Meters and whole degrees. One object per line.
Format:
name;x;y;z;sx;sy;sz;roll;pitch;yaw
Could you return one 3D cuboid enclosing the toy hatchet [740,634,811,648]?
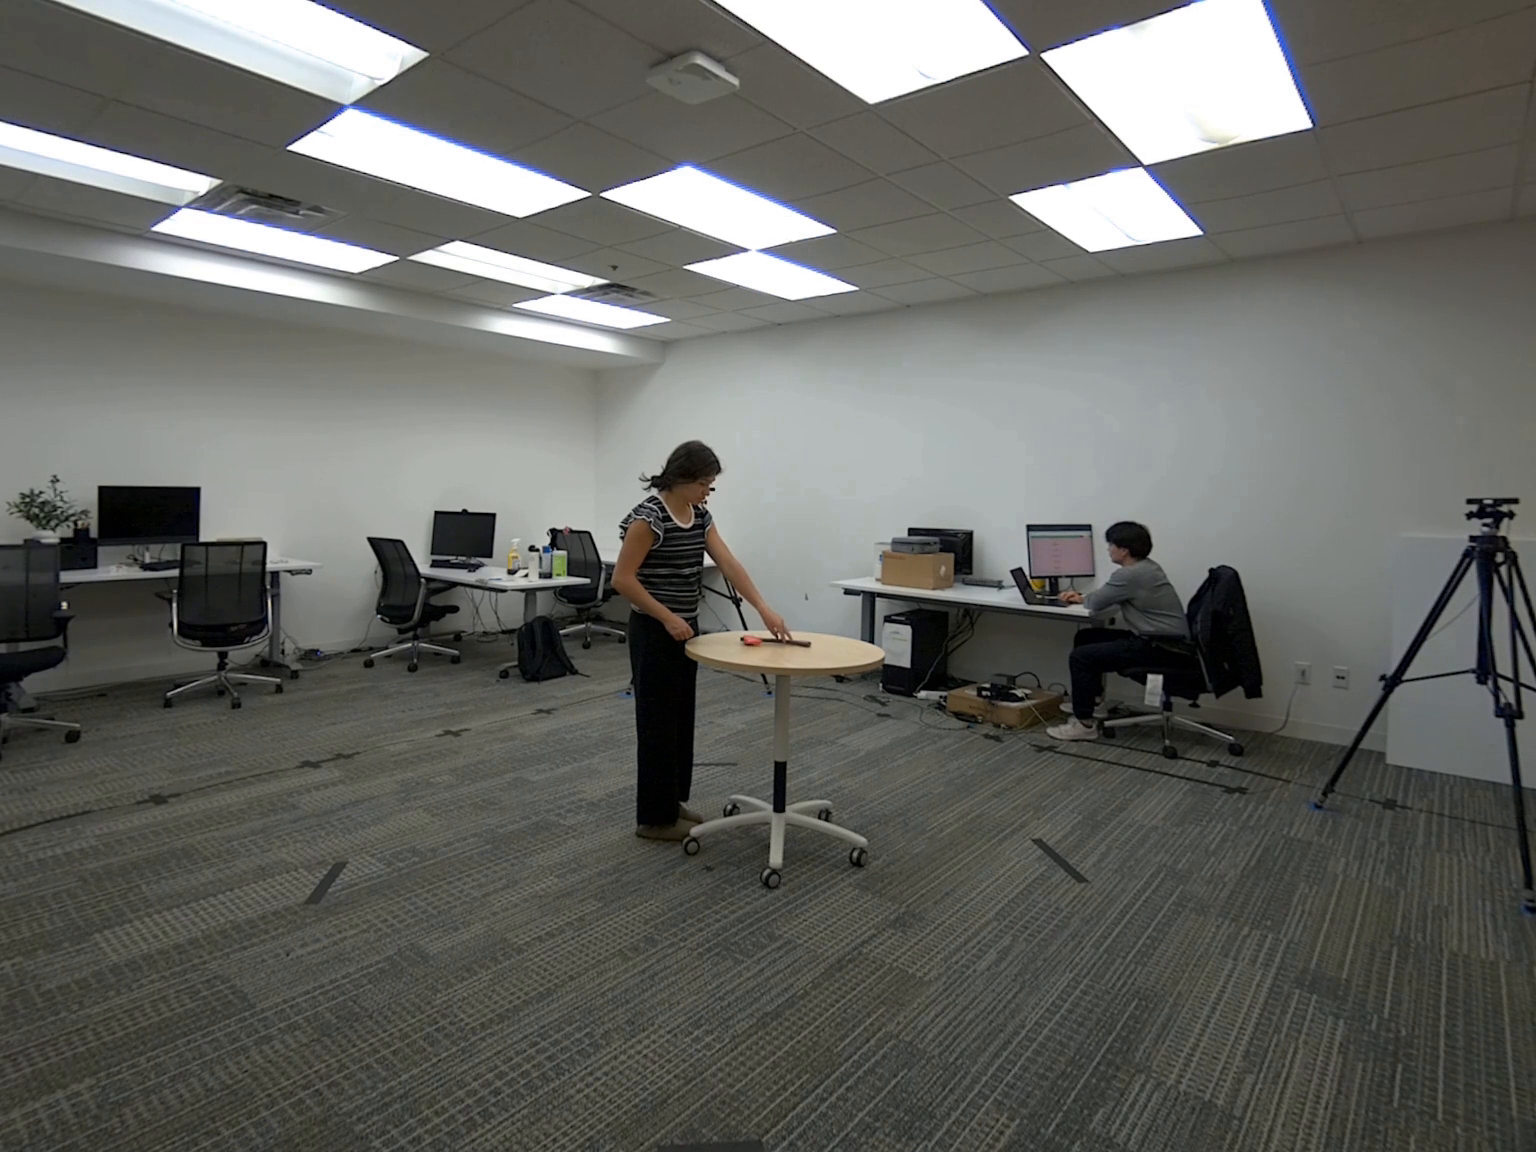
toy hatchet;0.013;0.256;3.313;0.275;0.029;0.128;4;2;18
